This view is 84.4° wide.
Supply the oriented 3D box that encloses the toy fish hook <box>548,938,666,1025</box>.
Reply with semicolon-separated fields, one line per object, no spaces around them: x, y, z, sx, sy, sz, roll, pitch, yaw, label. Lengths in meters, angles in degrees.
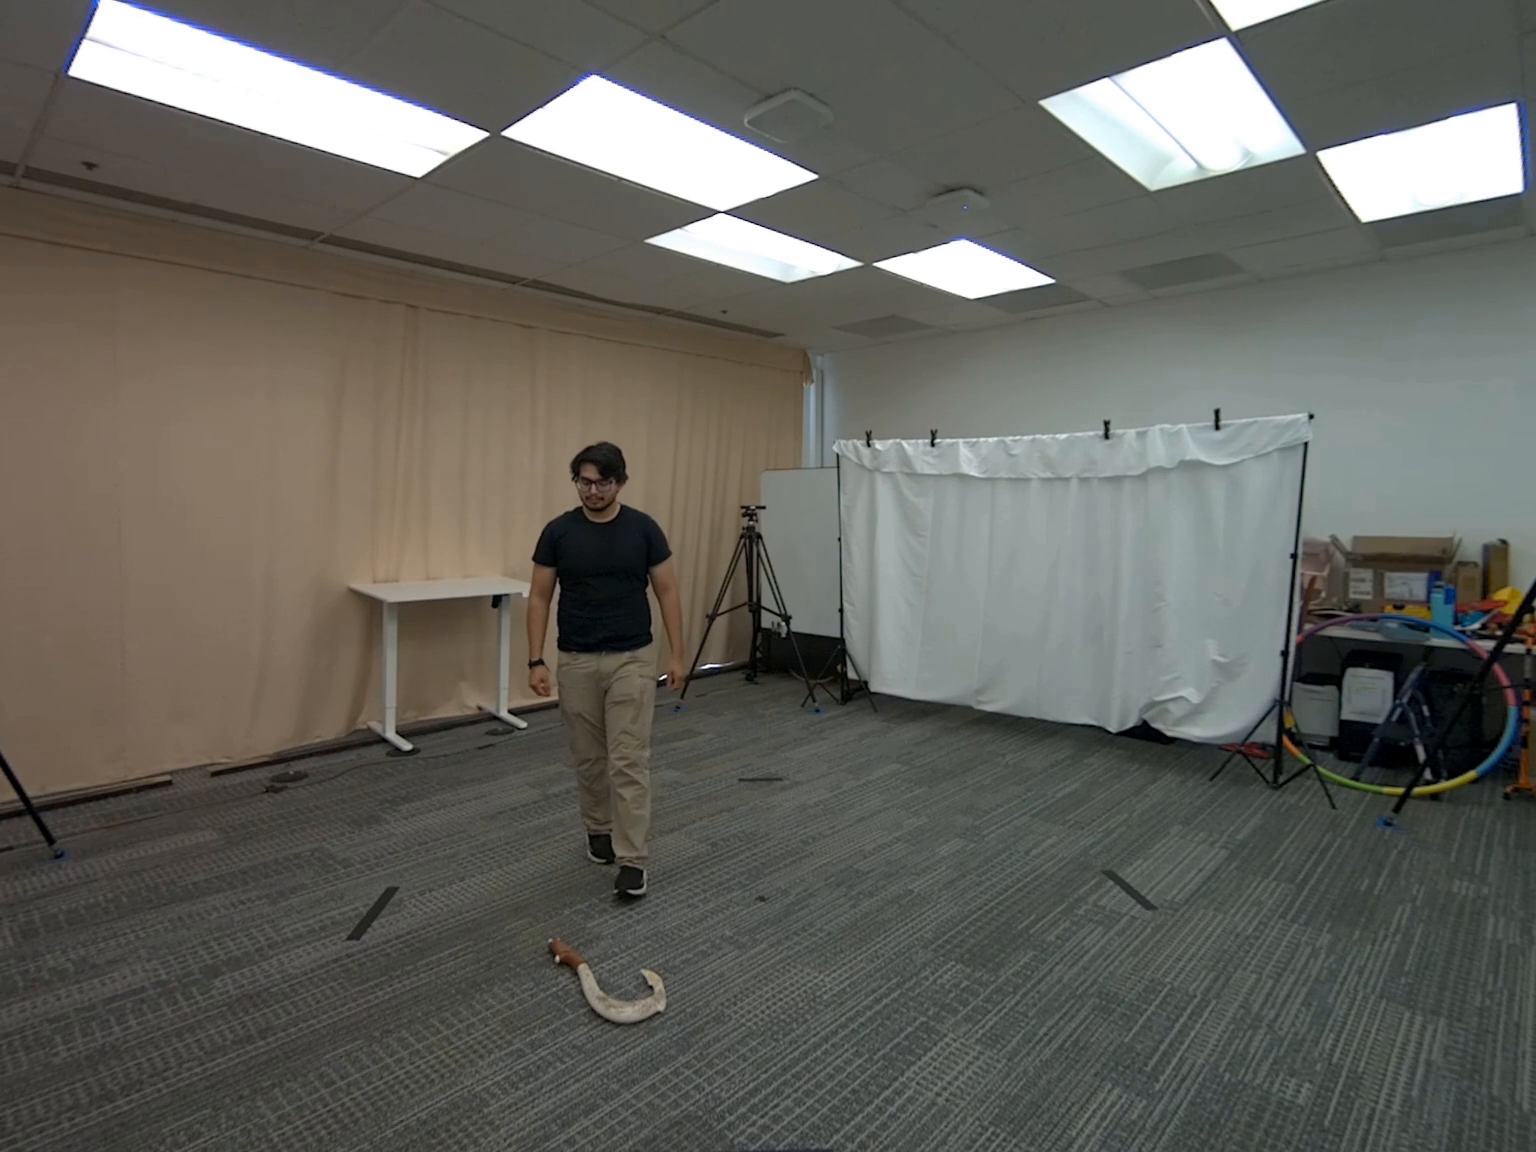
-0.477;1.175;2.476;0.217;0.048;0.523;5;1;-38;toy fish hook
